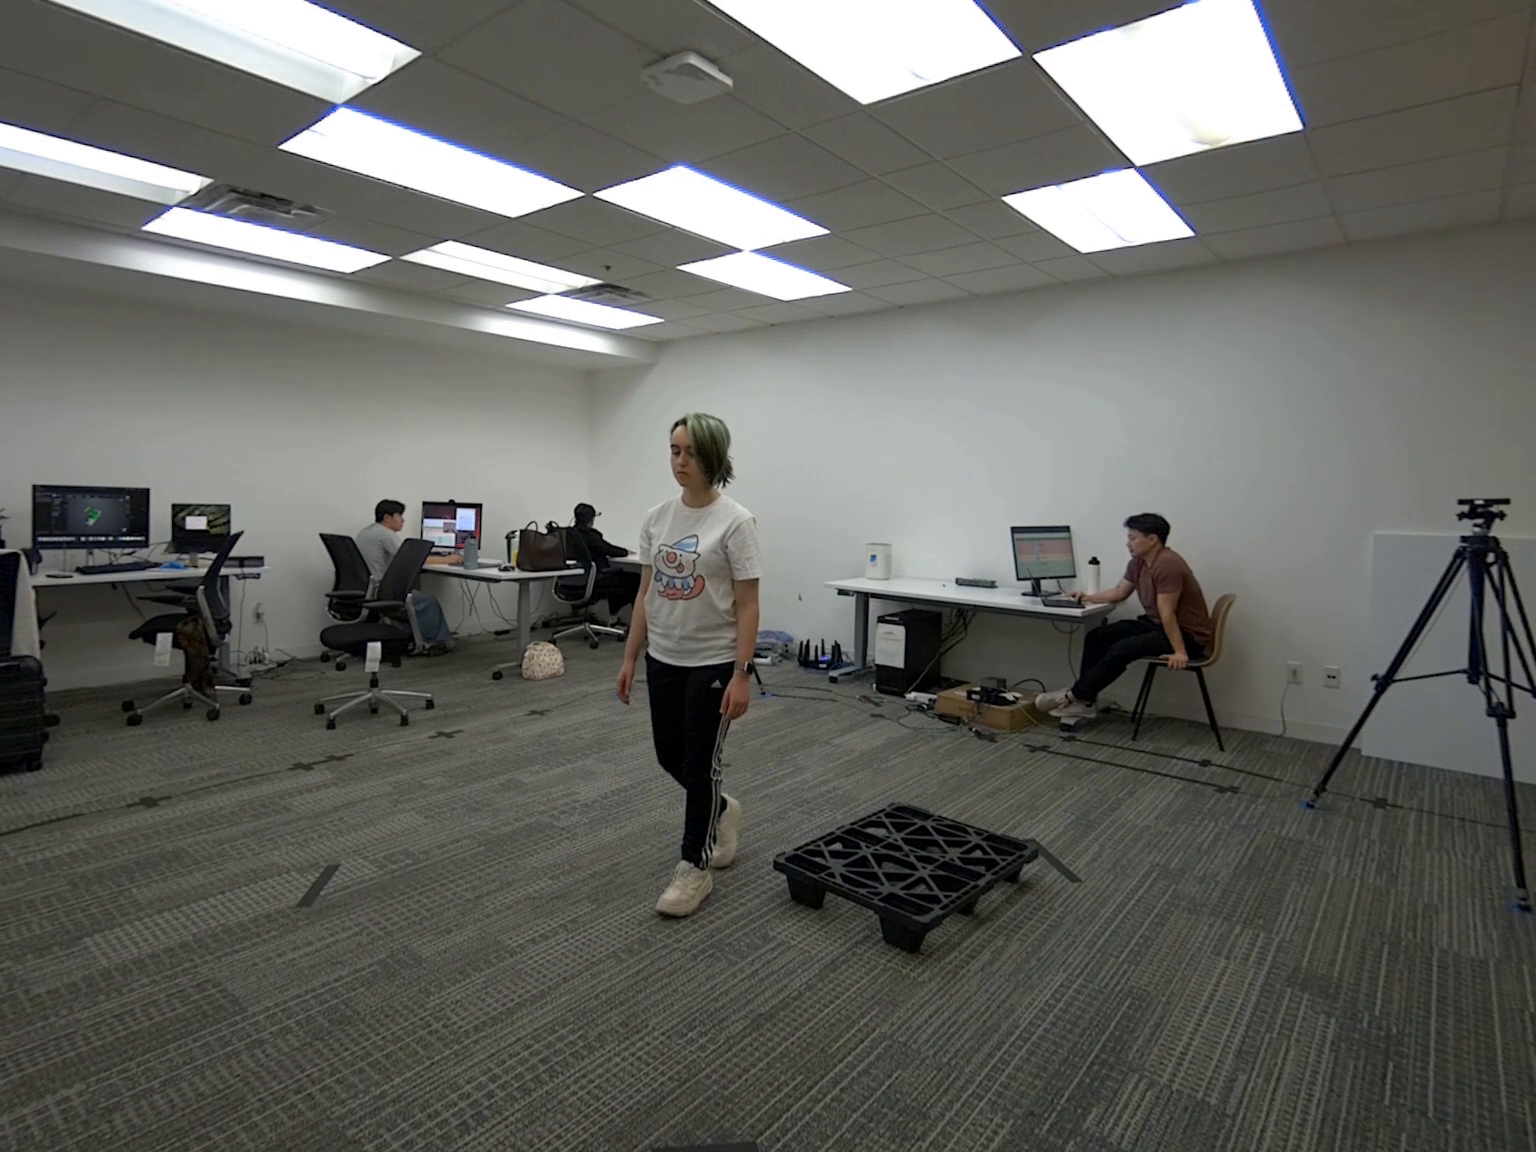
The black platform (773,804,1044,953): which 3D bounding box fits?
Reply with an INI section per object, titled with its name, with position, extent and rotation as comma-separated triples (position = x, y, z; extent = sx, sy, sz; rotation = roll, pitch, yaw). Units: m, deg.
[black platform]
position = 0.481, 1.035, 2.985
extent = 0.626, 0.143, 0.781
rotation = 6, 7, 42
